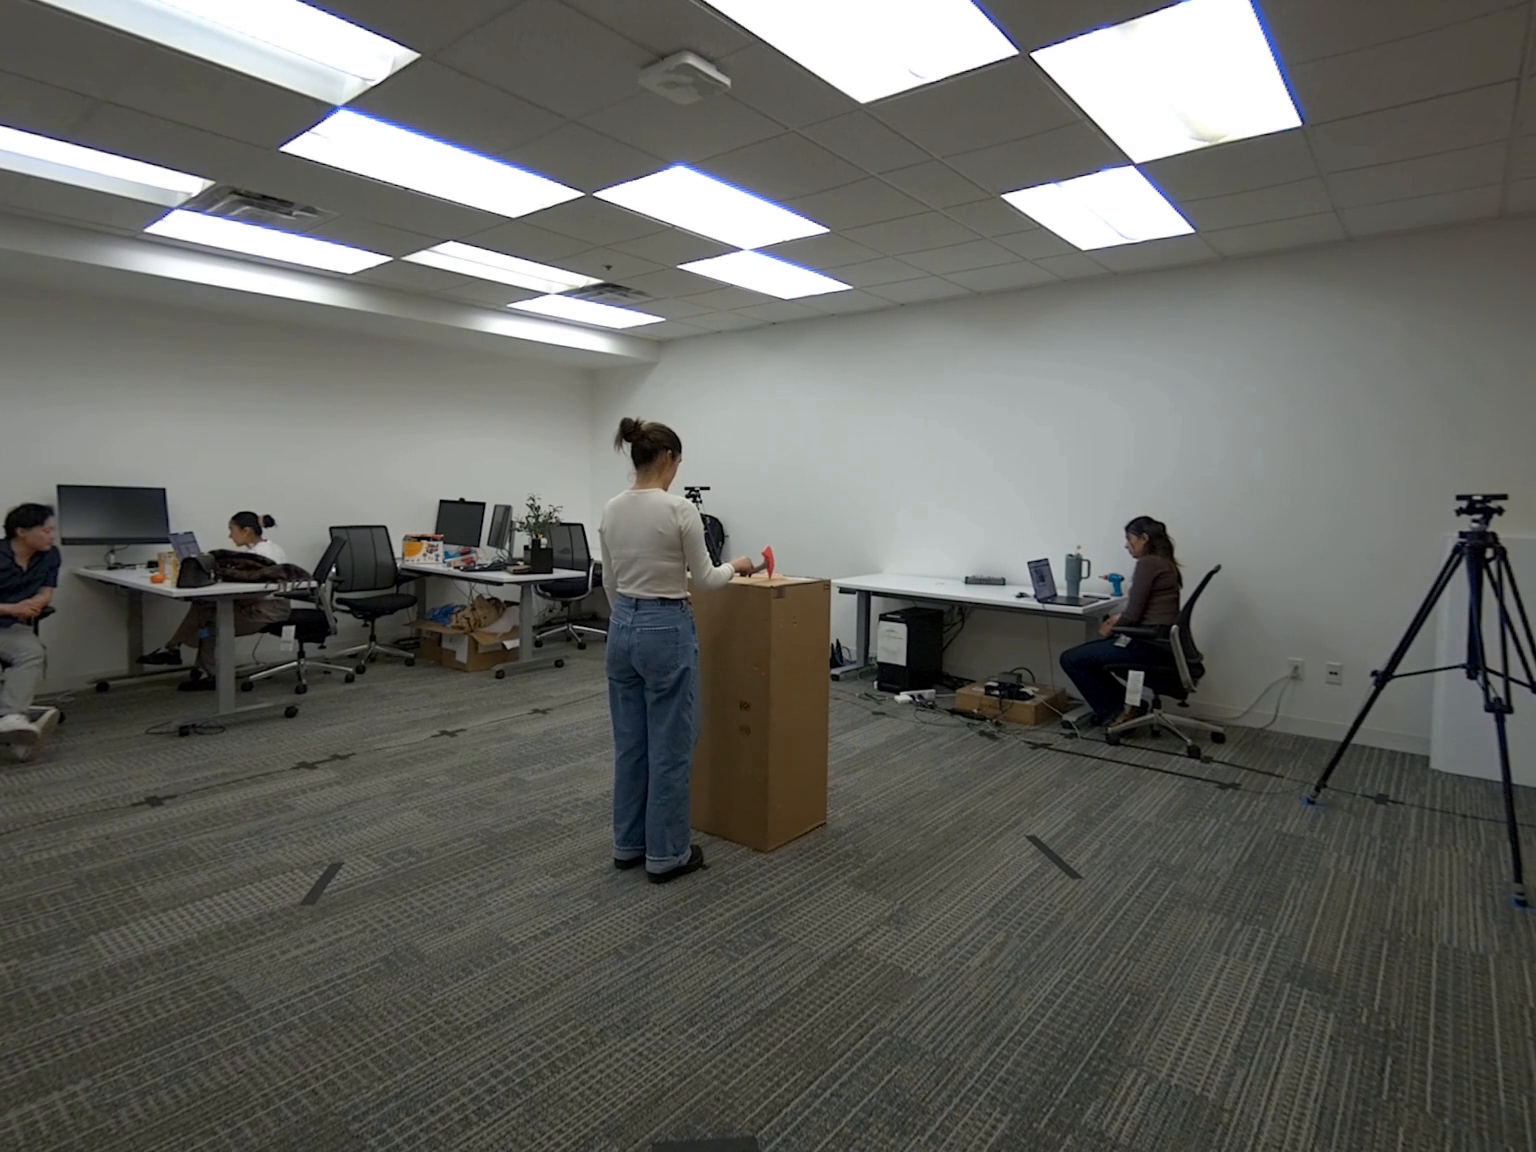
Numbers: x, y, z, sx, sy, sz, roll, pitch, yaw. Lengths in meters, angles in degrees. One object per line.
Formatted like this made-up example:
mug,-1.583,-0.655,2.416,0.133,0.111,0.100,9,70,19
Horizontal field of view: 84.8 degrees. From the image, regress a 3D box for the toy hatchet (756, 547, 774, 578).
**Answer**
toy hatchet,-0.048,-0.071,3.360,0.030,0.131,0.262,7,0,26
